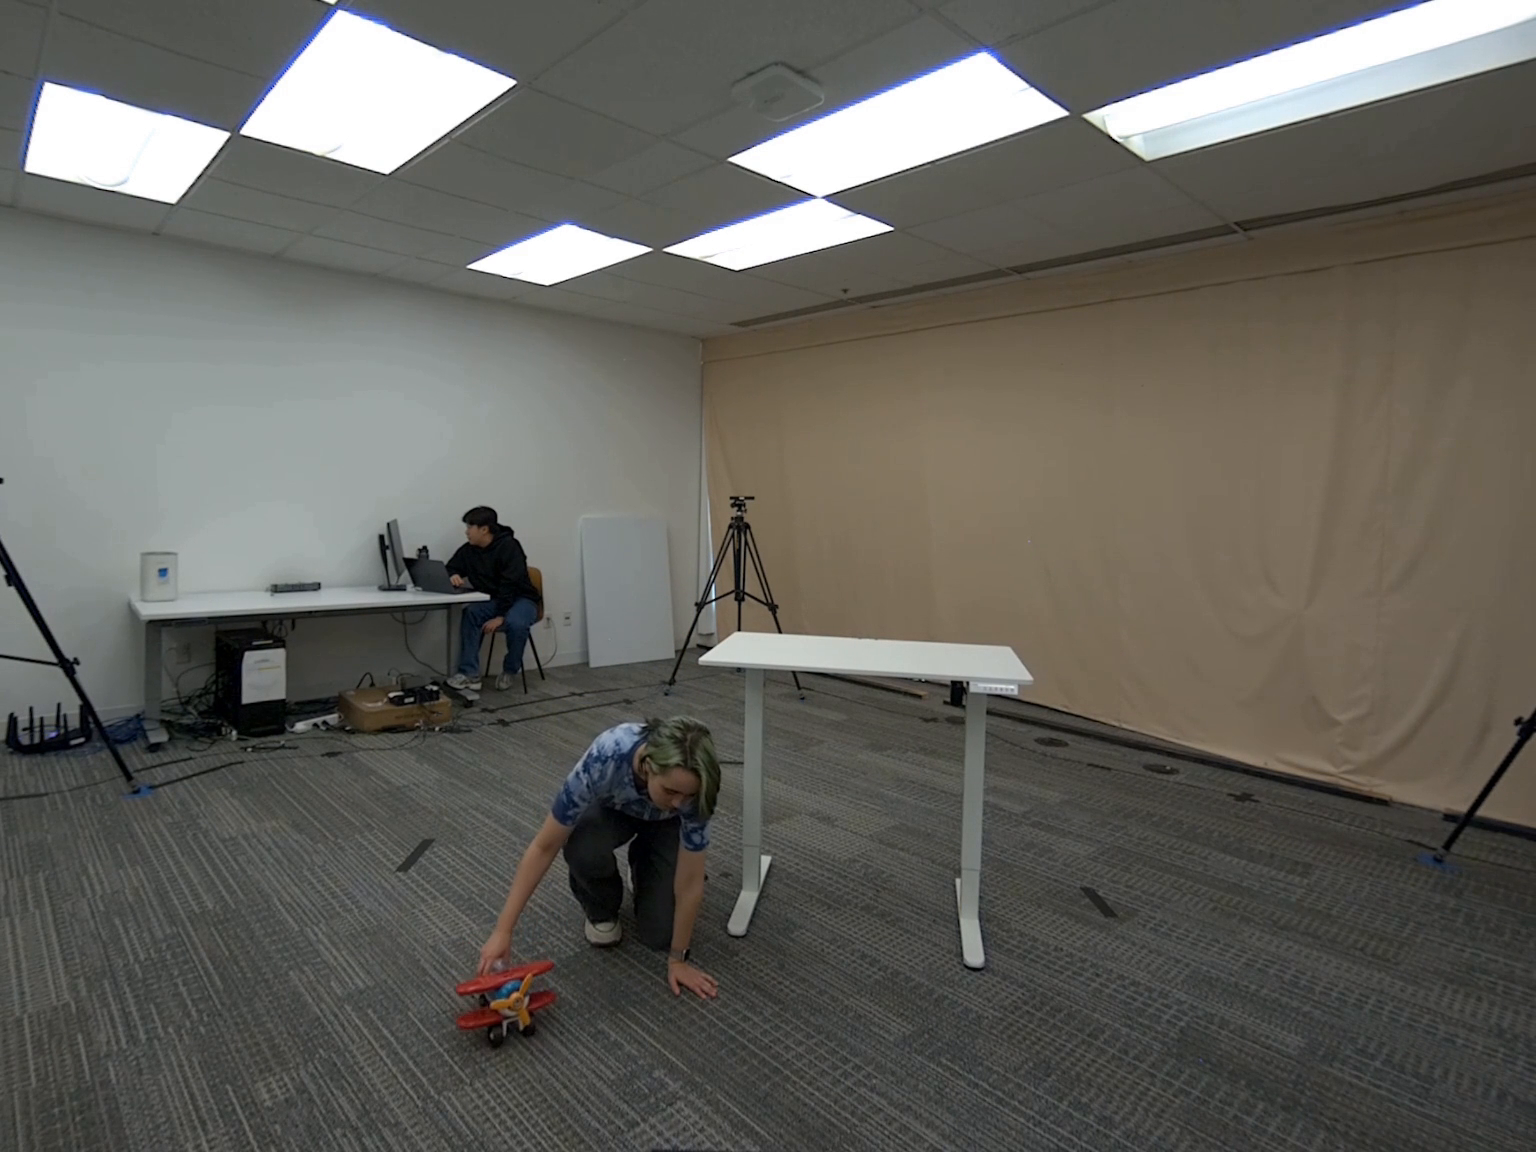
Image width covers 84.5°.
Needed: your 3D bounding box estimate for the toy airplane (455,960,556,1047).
[{"bbox_3d":[-0.724,1.107,2.190,0.265,0.156,0.246,5,7,30],"label":"toy airplane"}]
